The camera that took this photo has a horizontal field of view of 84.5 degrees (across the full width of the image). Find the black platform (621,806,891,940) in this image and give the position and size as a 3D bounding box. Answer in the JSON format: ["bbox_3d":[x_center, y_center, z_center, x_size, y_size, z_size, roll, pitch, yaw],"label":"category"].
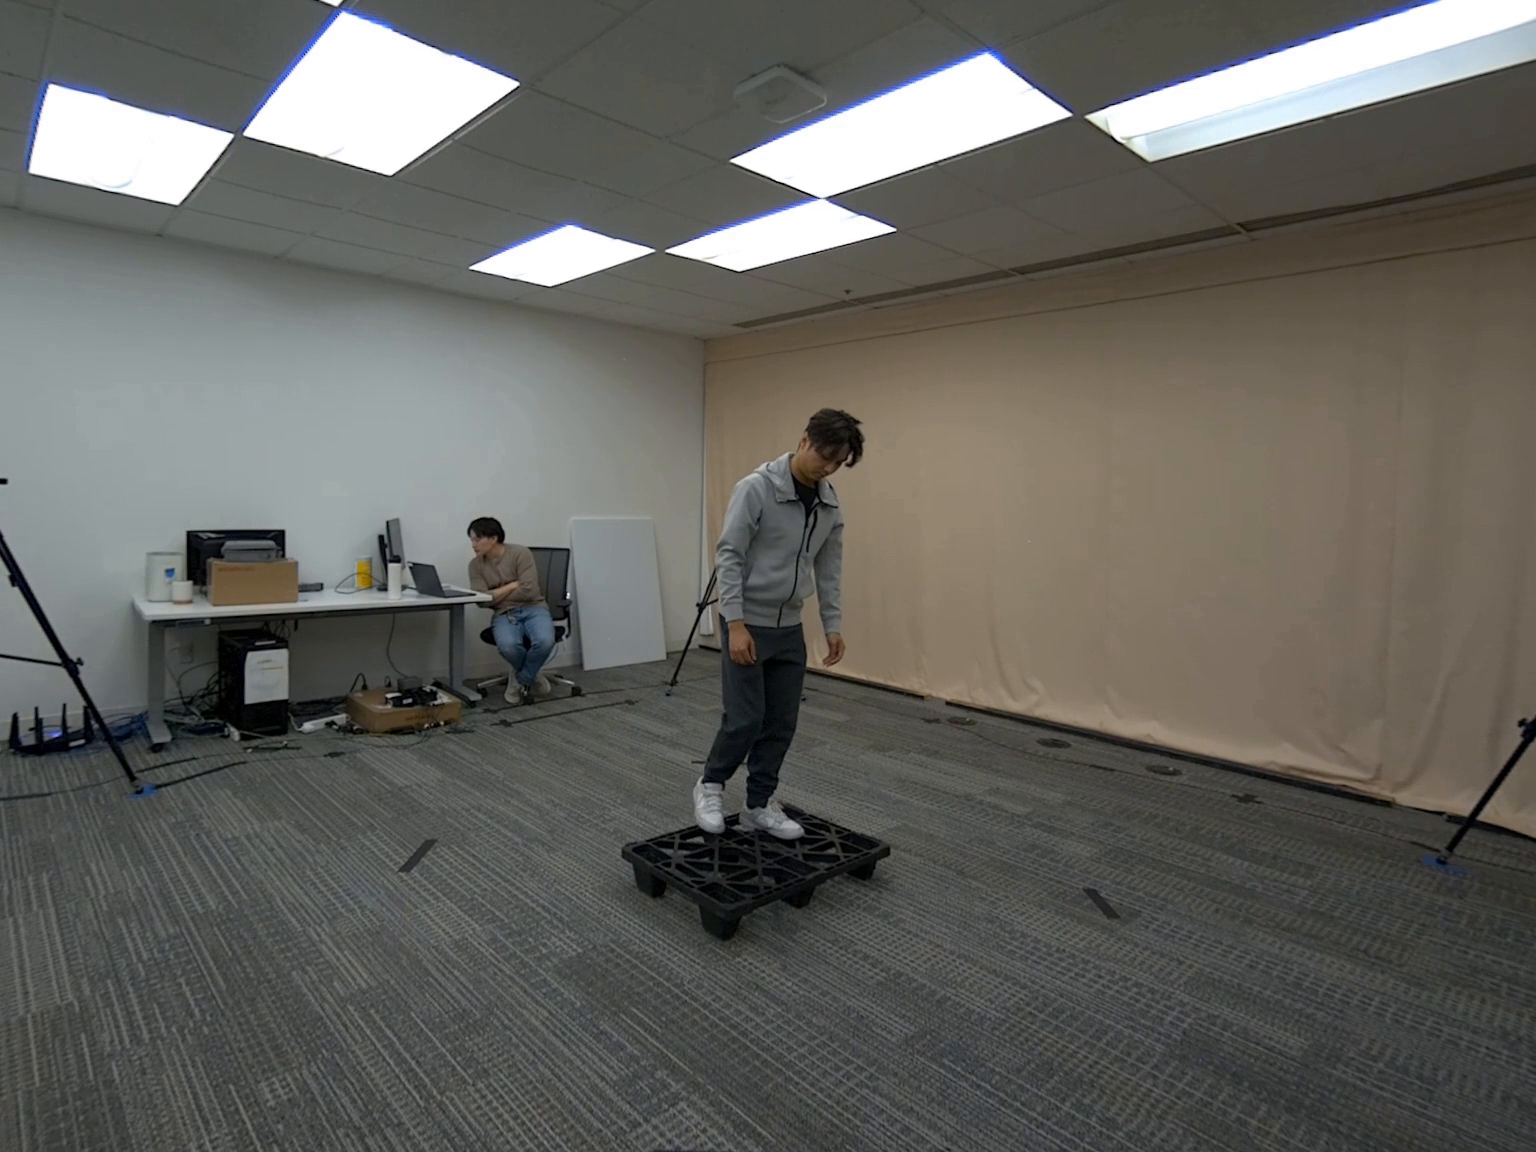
[{"bbox_3d":[-0.051,1.048,3.050,0.787,0.143,0.620,-3,6,-42],"label":"black platform"}]
